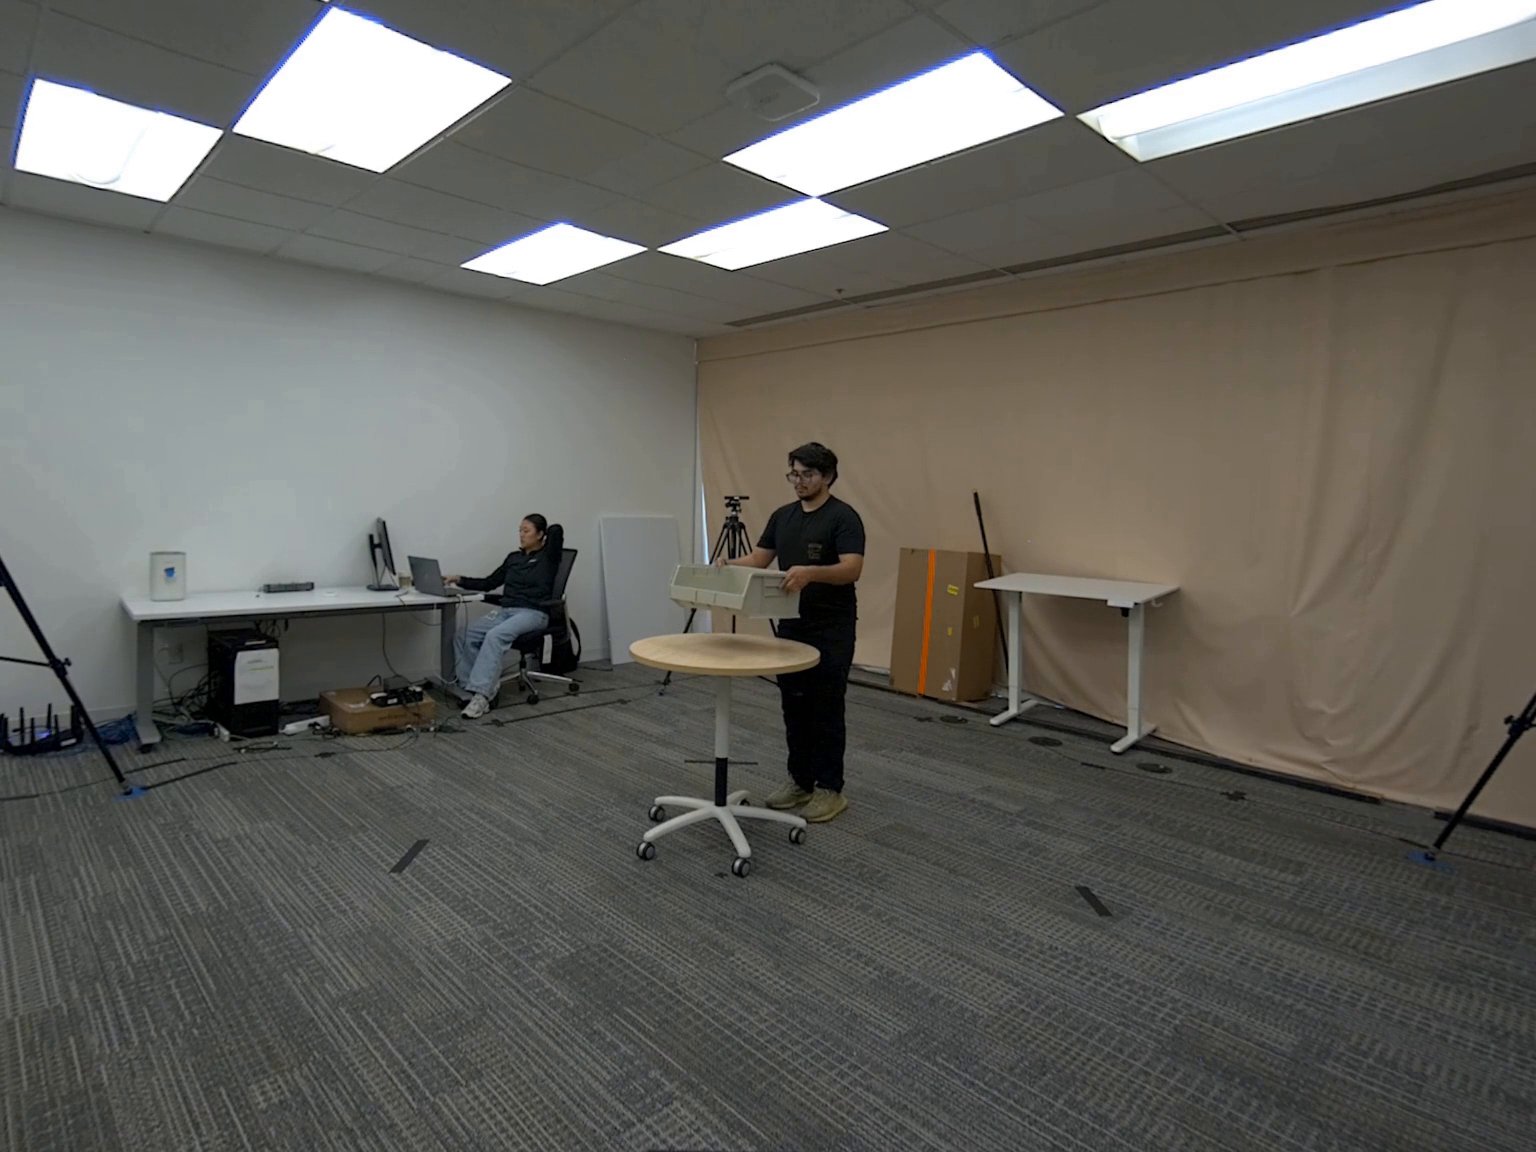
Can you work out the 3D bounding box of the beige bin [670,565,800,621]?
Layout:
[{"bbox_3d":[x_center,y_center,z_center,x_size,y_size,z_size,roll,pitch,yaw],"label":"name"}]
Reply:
[{"bbox_3d":[-0.139,0.063,3.447,0.433,0.189,0.368,7,1,41],"label":"beige bin"}]
